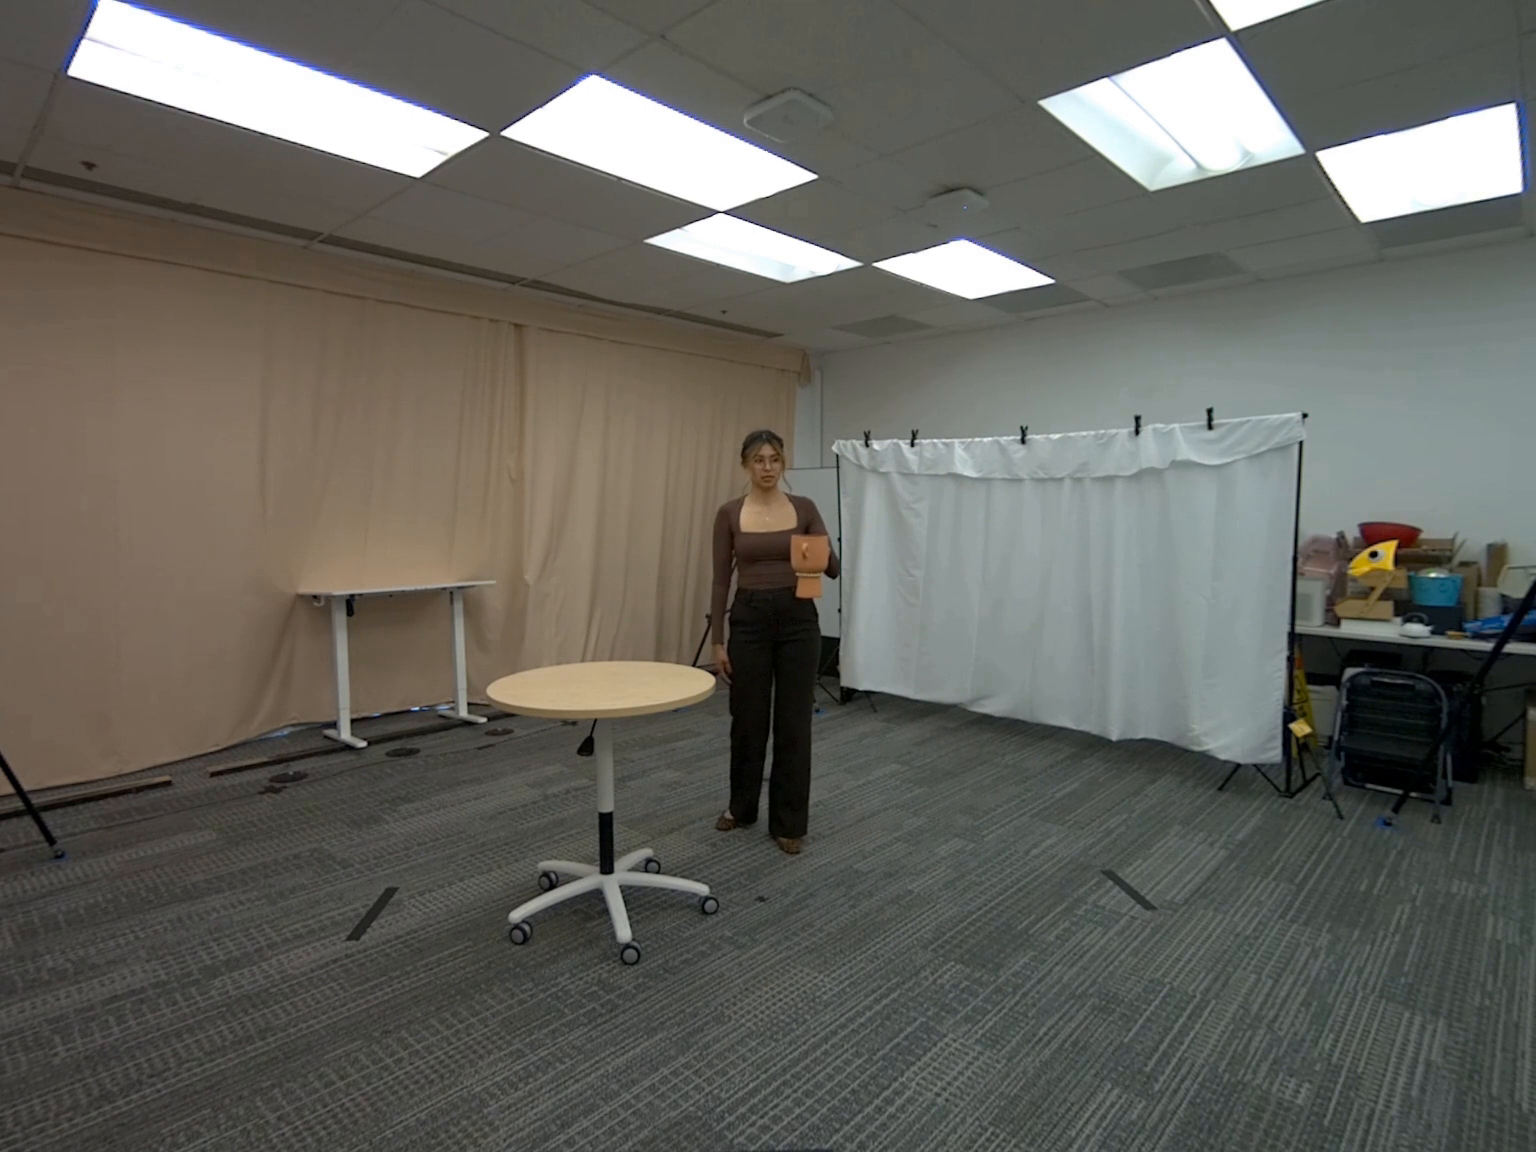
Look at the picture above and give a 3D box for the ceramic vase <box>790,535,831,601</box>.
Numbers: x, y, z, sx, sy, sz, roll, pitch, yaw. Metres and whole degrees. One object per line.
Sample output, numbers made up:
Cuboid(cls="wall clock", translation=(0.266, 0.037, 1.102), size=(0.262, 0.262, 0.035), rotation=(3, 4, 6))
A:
Cuboid(cls="ceramic vase", translation=(0.160, -0.035, 3.064), size=(0.154, 0.219, 0.139), rotation=(-5, 5, -35))
